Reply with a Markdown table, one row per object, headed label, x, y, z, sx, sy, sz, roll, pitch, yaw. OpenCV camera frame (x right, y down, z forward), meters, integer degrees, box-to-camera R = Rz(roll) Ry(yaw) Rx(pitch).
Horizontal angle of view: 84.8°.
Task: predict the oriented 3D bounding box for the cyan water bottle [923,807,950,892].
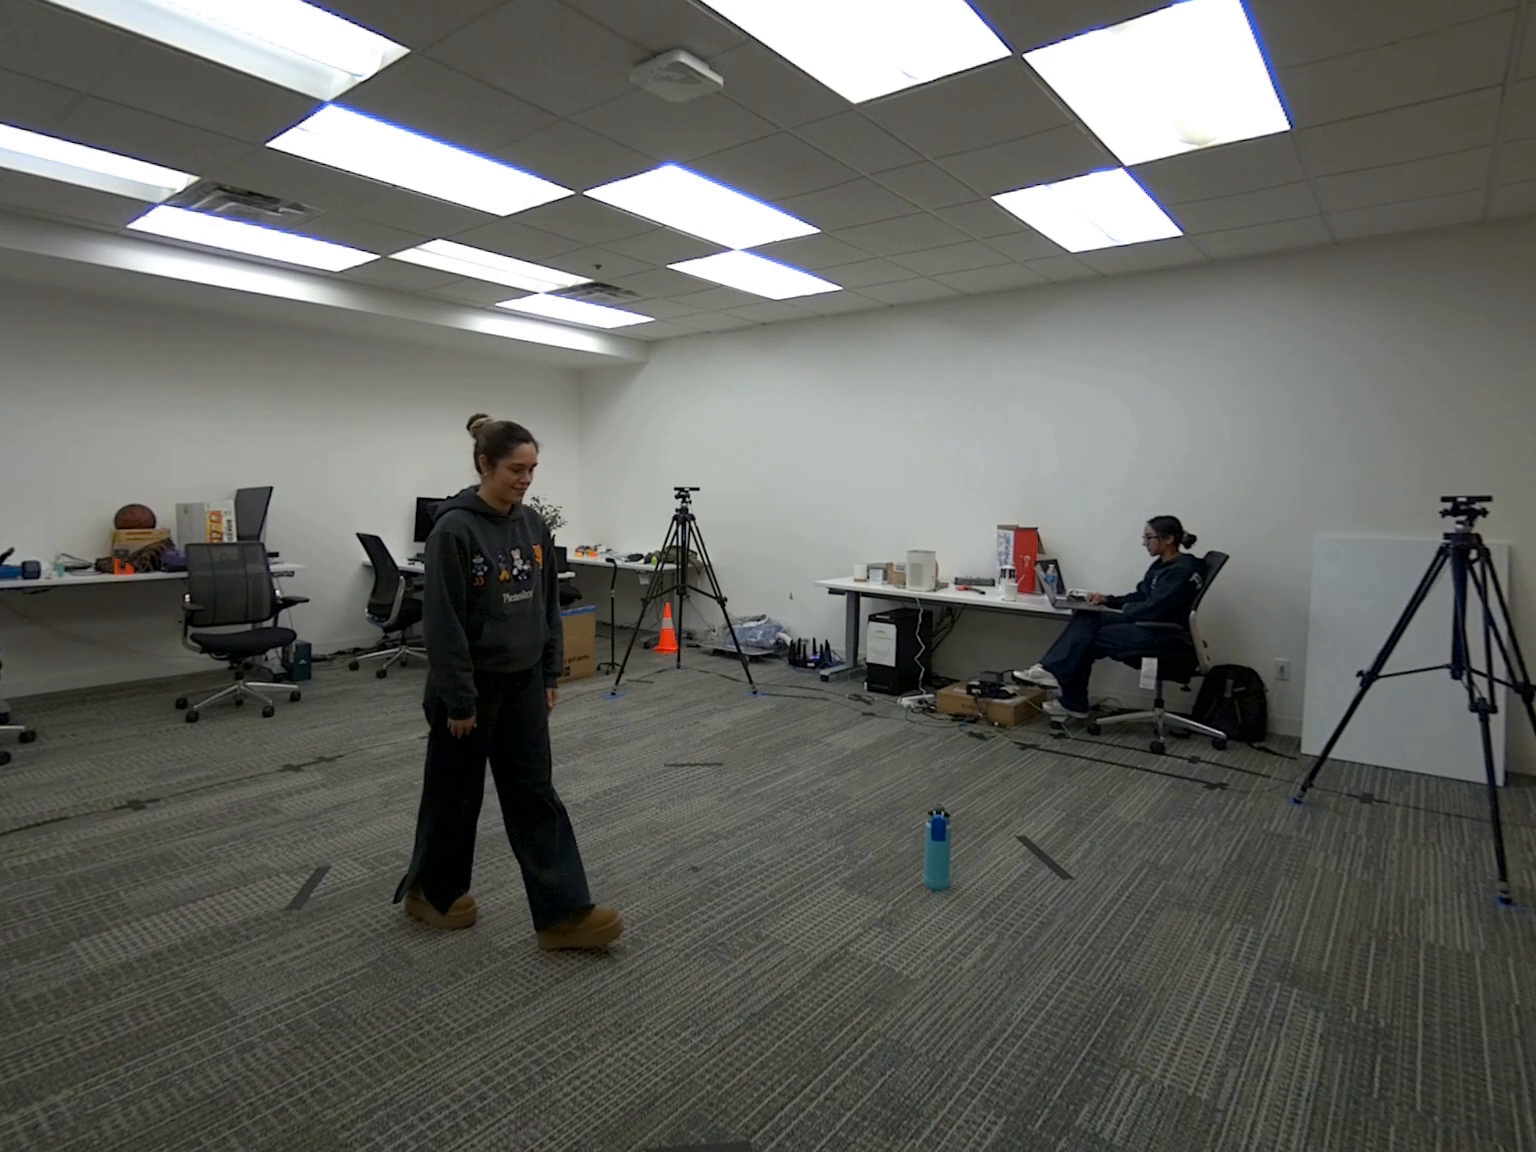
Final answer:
| label | x | y | z | sx | sy | sz | roll | pitch | yaw |
| --- | --- | --- | --- | --- | --- | --- | --- | --- | --- |
| cyan water bottle | 0.609 | 0.953 | 3.014 | 0.092 | 0.282 | 0.093 | 1 | 4 | -2 |
